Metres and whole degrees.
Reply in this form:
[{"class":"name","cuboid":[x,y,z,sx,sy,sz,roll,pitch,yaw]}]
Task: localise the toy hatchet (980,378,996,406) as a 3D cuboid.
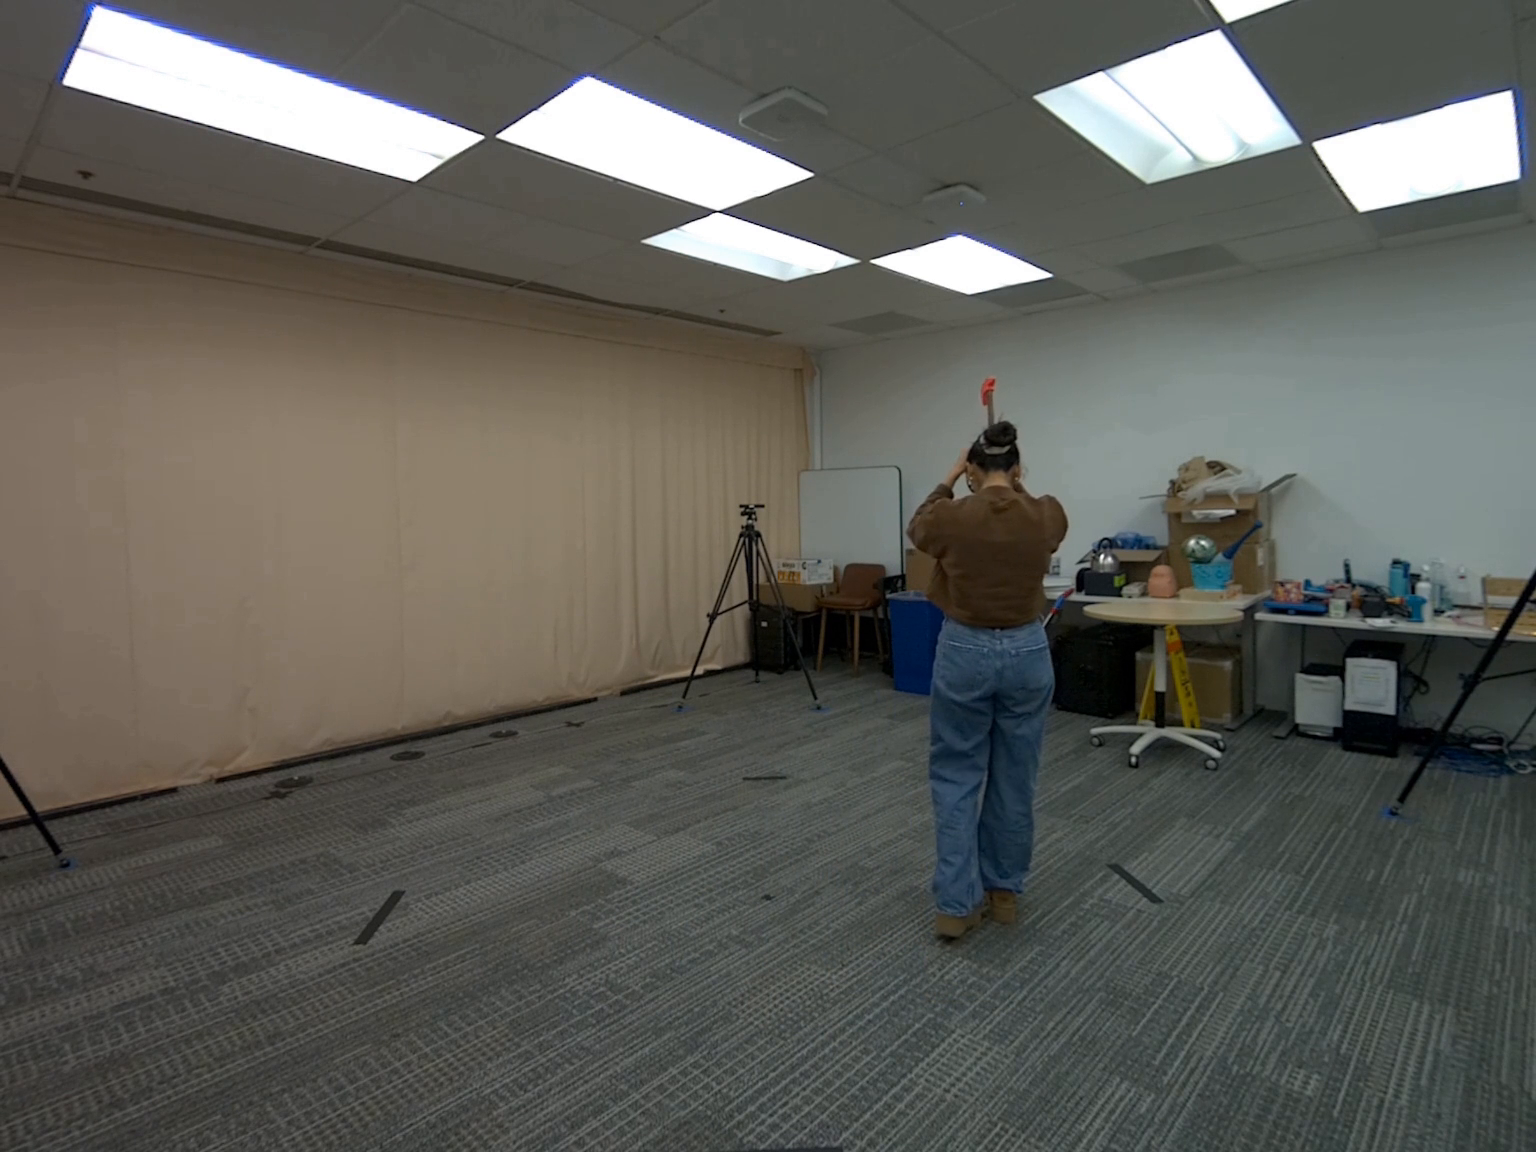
[{"class":"toy hatchet","cuboid":[0.777,-0.565,2.970,0.029,0.269,0.132,1,5,-8]}]
